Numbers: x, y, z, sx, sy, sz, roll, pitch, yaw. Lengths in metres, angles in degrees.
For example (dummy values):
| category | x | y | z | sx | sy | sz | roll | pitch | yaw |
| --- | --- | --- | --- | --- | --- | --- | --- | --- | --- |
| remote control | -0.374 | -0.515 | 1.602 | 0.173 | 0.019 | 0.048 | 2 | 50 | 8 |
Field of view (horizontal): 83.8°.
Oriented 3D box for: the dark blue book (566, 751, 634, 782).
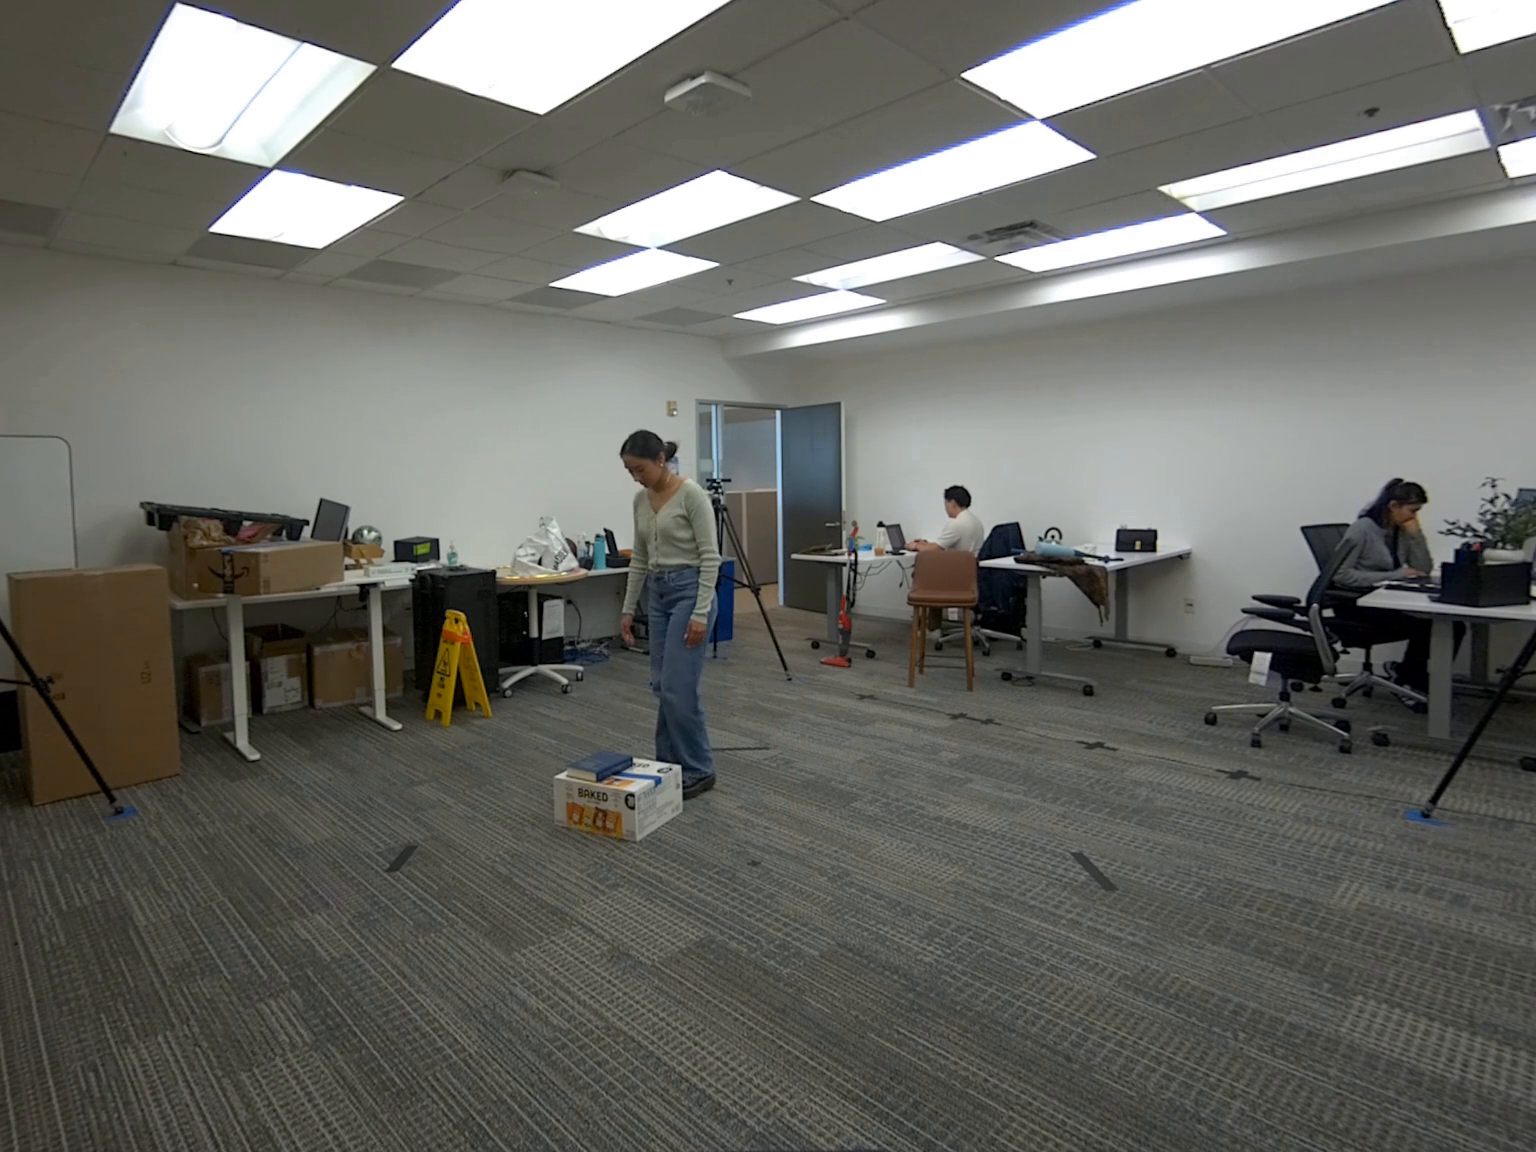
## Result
| category | x | y | z | sx | sy | sz | roll | pitch | yaw |
| --- | --- | --- | --- | --- | --- | --- | --- | --- | --- |
| dark blue book | -0.696 | 0.786 | 3.546 | 0.167 | 0.045 | 0.240 | 2 | 7 | 29 |
